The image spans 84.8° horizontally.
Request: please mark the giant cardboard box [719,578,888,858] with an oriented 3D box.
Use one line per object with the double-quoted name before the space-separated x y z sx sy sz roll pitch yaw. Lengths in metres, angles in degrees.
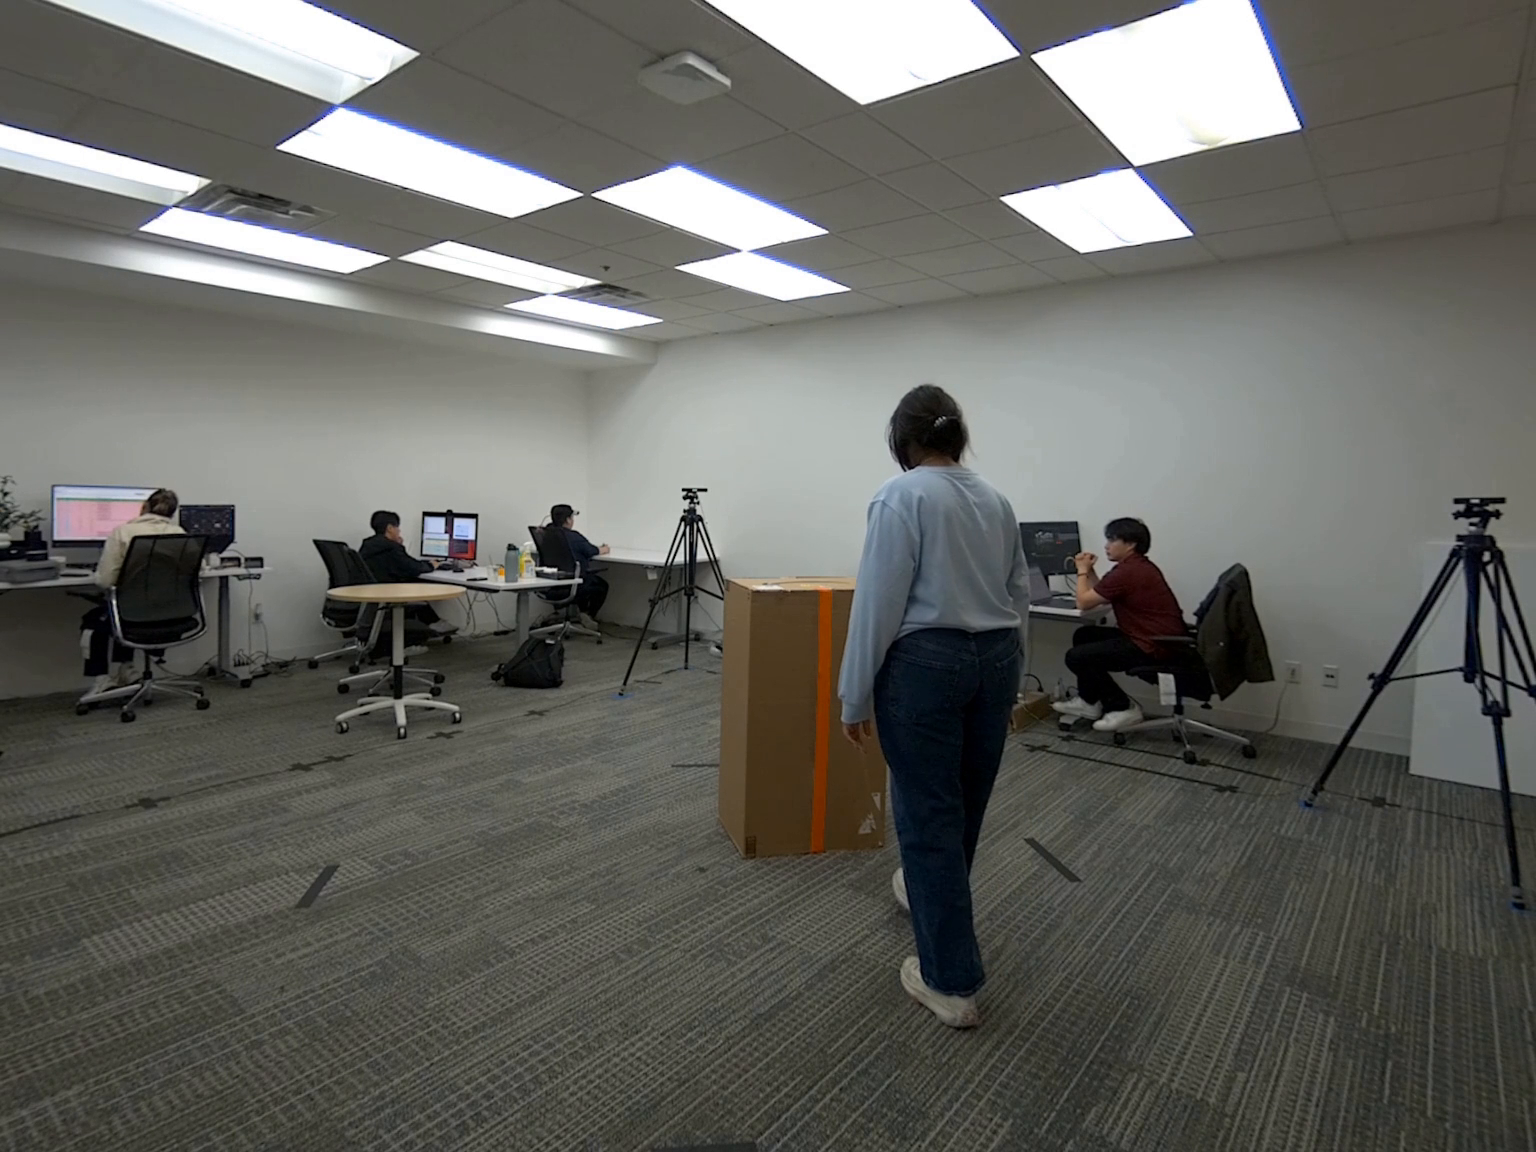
"giant cardboard box" 0.123 0.534 3.449 0.575 1.024 0.455 0 4 -15
